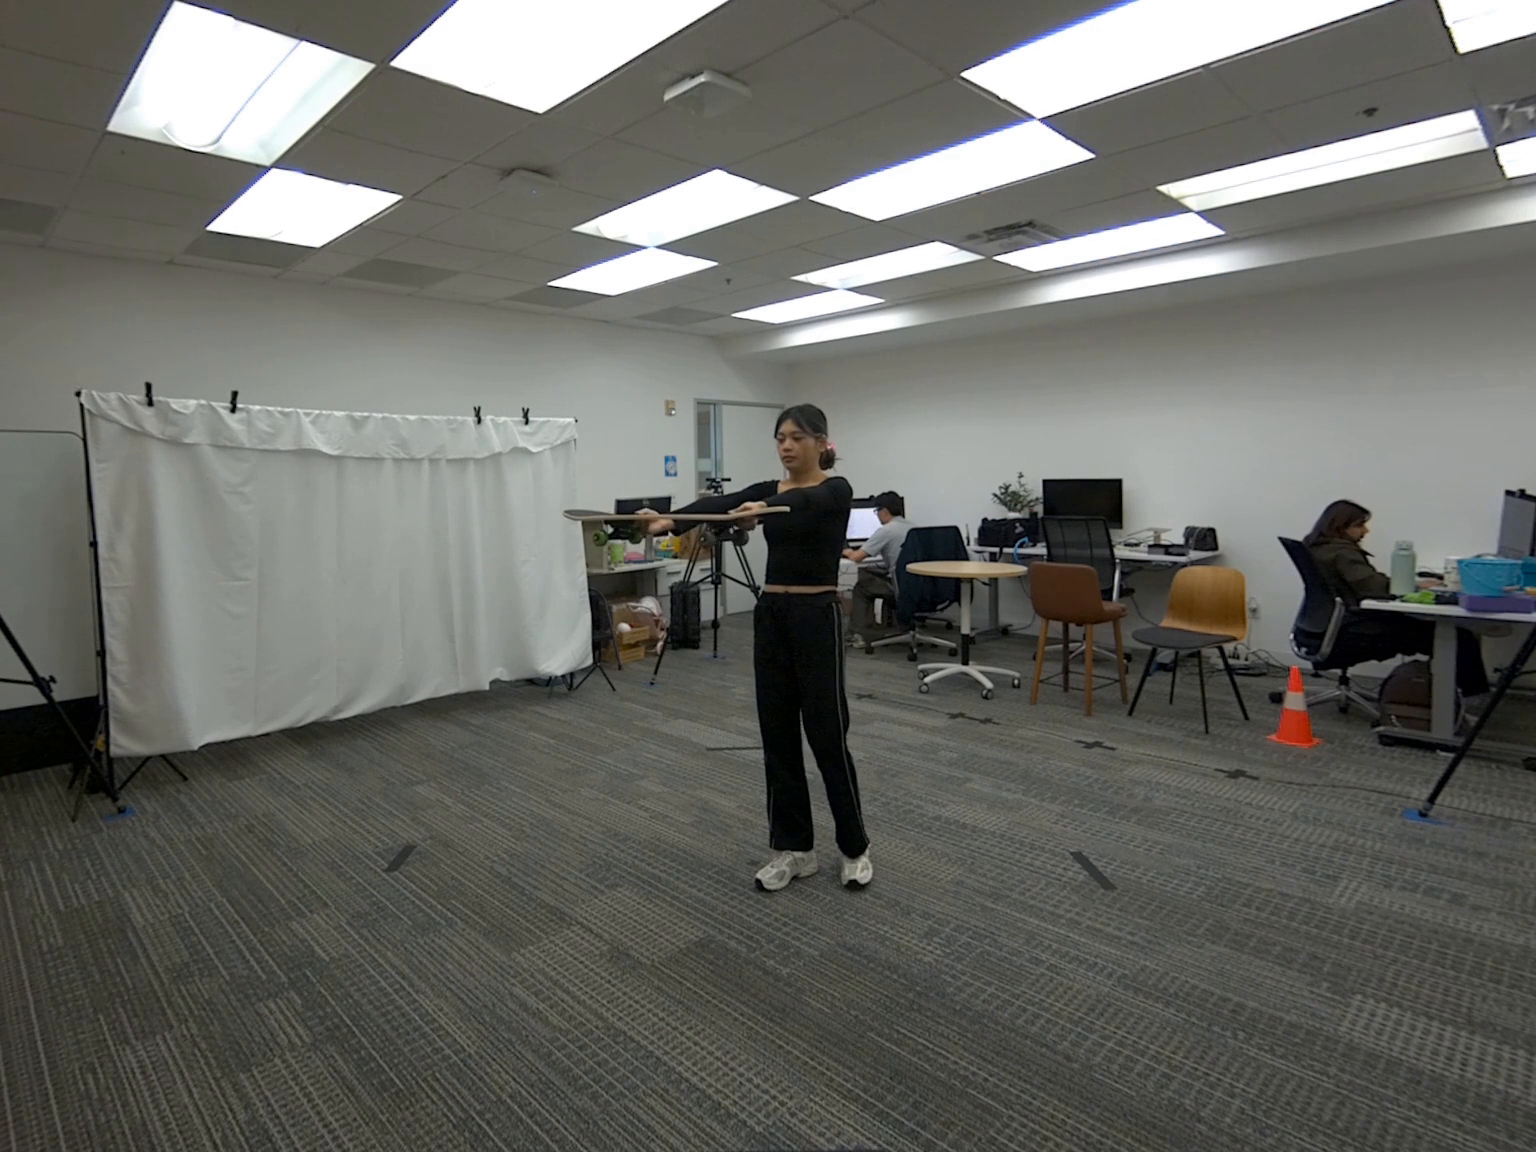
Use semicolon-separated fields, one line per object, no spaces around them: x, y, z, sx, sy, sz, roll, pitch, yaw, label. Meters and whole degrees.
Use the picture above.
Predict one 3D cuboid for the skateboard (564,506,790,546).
-0.297;-0.137;2.451;0.808;0.110;0.188;3;4;36;skateboard
